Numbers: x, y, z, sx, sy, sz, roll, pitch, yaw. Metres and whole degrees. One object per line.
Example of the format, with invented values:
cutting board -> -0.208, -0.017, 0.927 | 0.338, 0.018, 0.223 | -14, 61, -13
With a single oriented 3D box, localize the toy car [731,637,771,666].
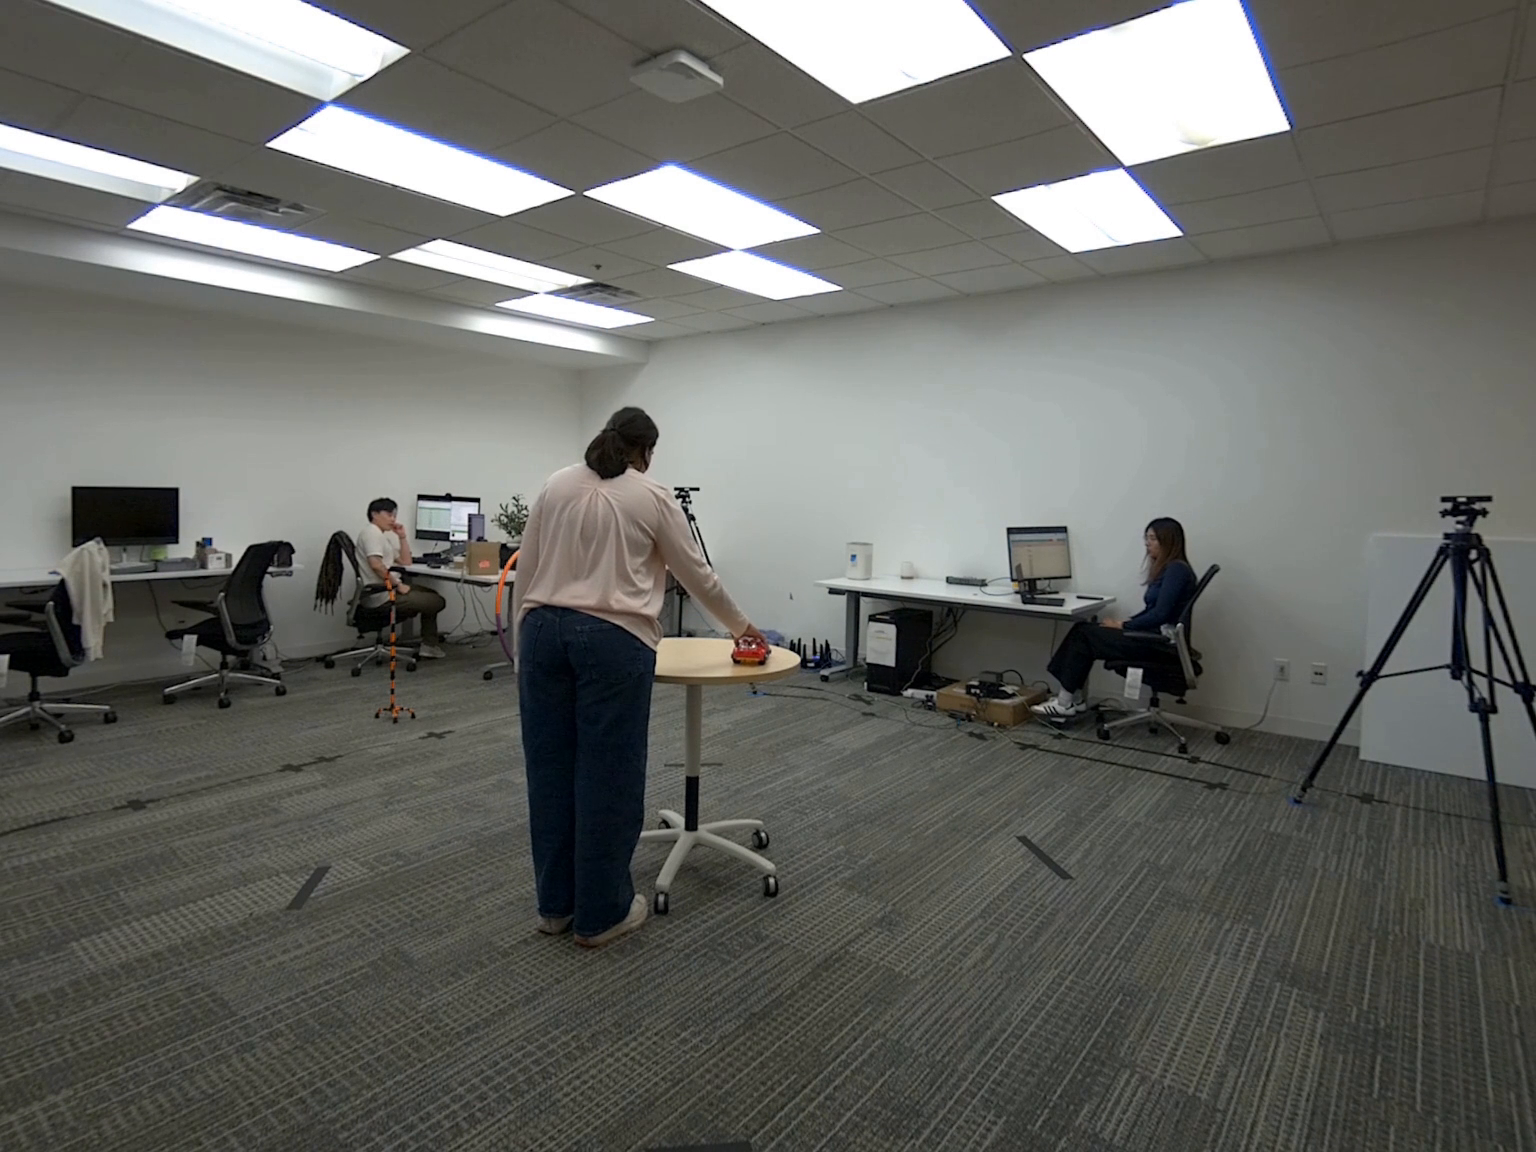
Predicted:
toy car -> -0.073, 0.264, 2.997 | 0.131, 0.084, 0.251 | 3, -6, 4
